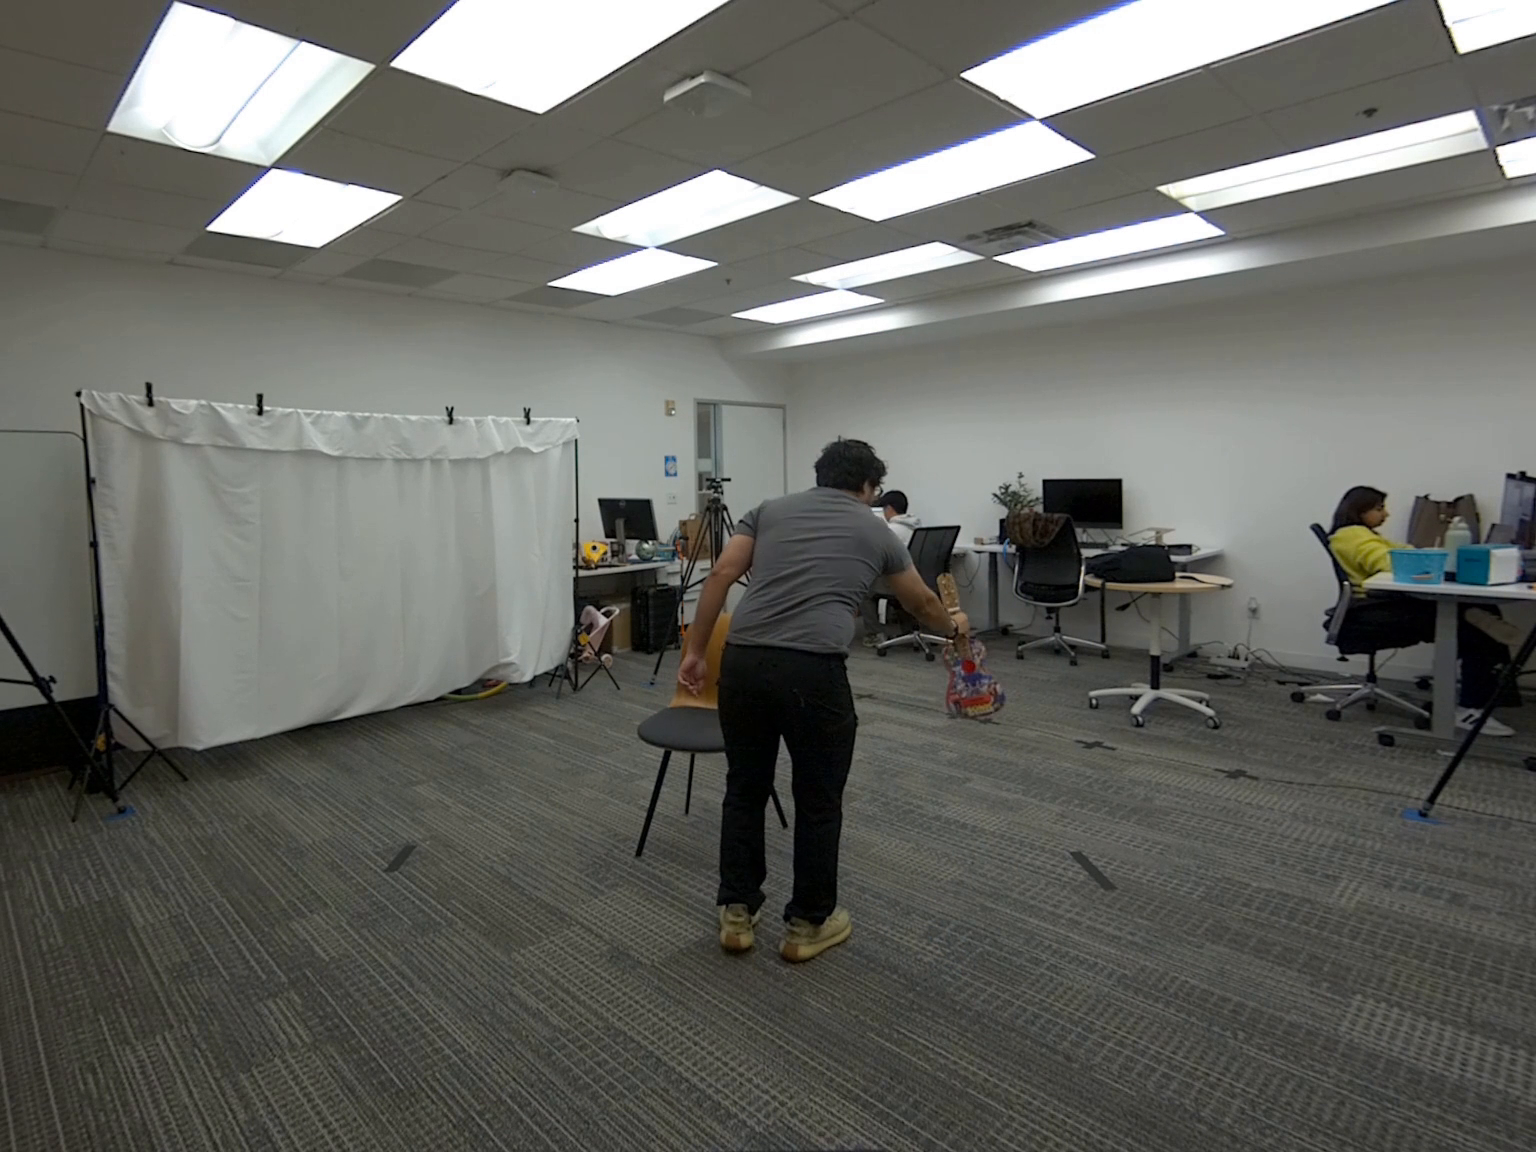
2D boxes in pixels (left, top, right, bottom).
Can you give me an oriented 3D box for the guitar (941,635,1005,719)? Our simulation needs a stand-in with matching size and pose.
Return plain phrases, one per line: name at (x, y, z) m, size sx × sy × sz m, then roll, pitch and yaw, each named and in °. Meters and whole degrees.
guitar at (0.703, 0.239, 2.970) m, size 0.194 × 0.503 × 0.070 m, roll -3°, pitch -11°, yaw 4°
